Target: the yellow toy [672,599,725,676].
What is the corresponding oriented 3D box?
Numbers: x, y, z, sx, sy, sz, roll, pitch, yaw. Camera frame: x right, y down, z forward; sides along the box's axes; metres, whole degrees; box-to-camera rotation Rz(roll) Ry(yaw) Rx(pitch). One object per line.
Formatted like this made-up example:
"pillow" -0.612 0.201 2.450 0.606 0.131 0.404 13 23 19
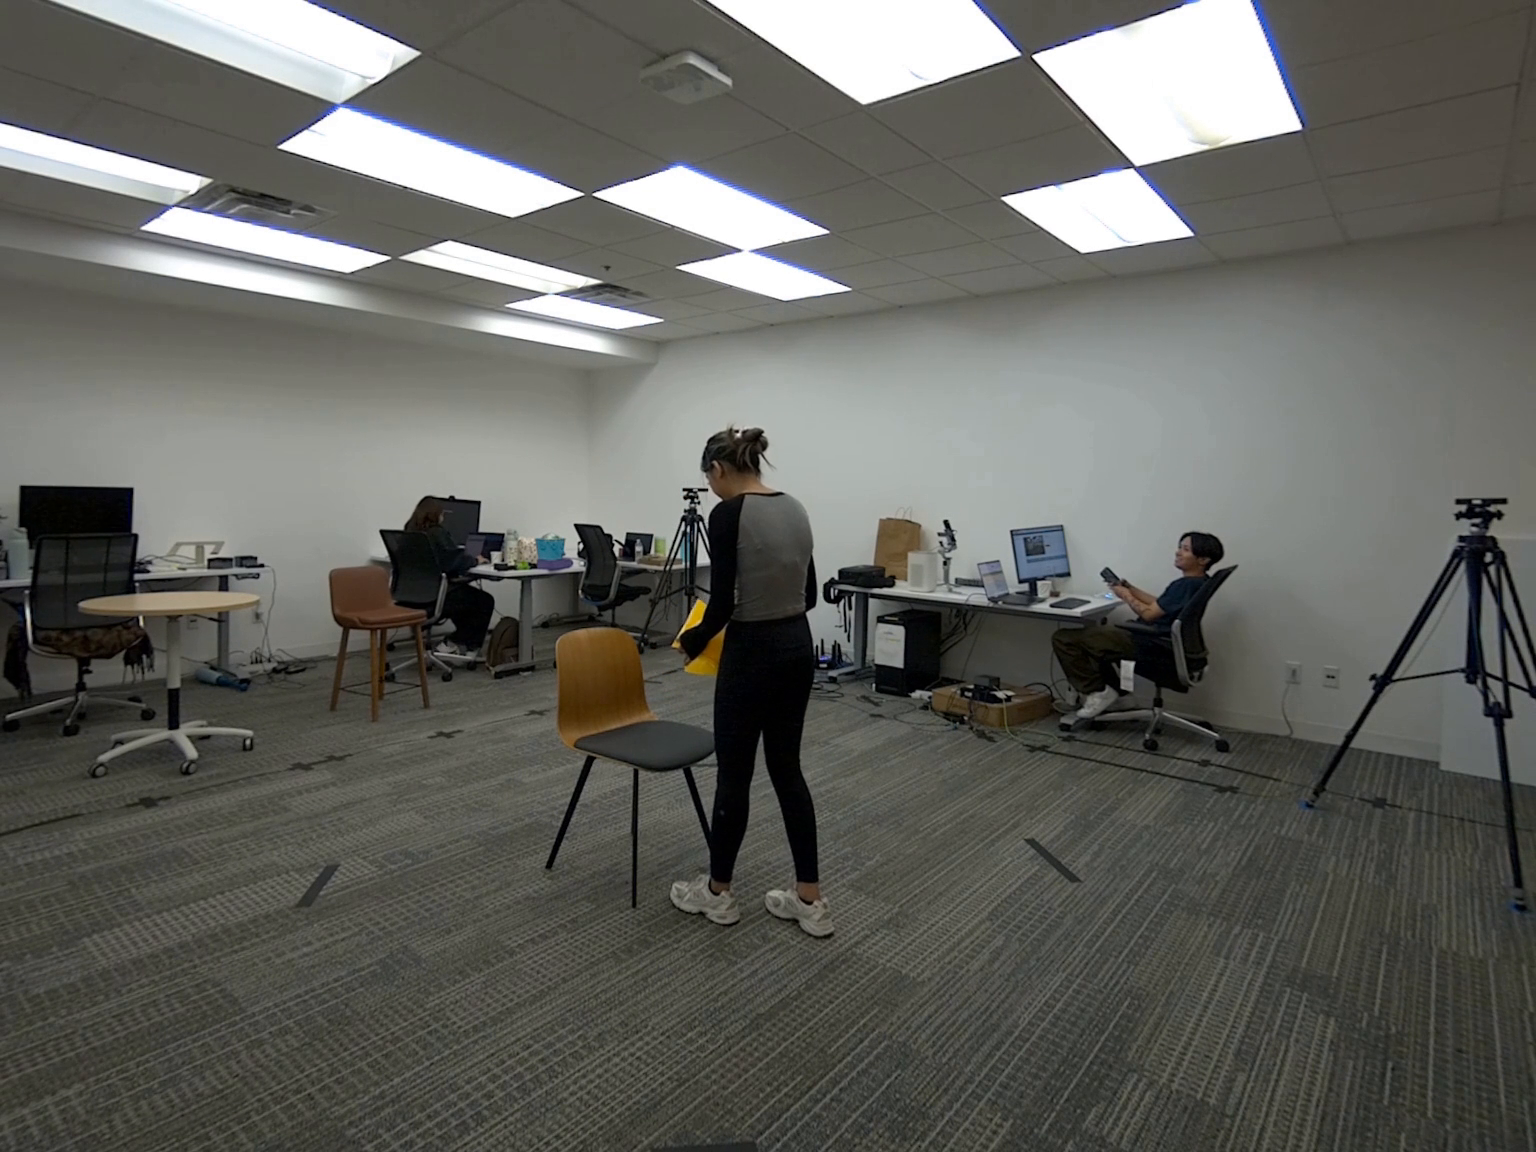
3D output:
"yellow toy" -0.198 0.198 2.882 0.199 0.230 0.199 4 6 38
